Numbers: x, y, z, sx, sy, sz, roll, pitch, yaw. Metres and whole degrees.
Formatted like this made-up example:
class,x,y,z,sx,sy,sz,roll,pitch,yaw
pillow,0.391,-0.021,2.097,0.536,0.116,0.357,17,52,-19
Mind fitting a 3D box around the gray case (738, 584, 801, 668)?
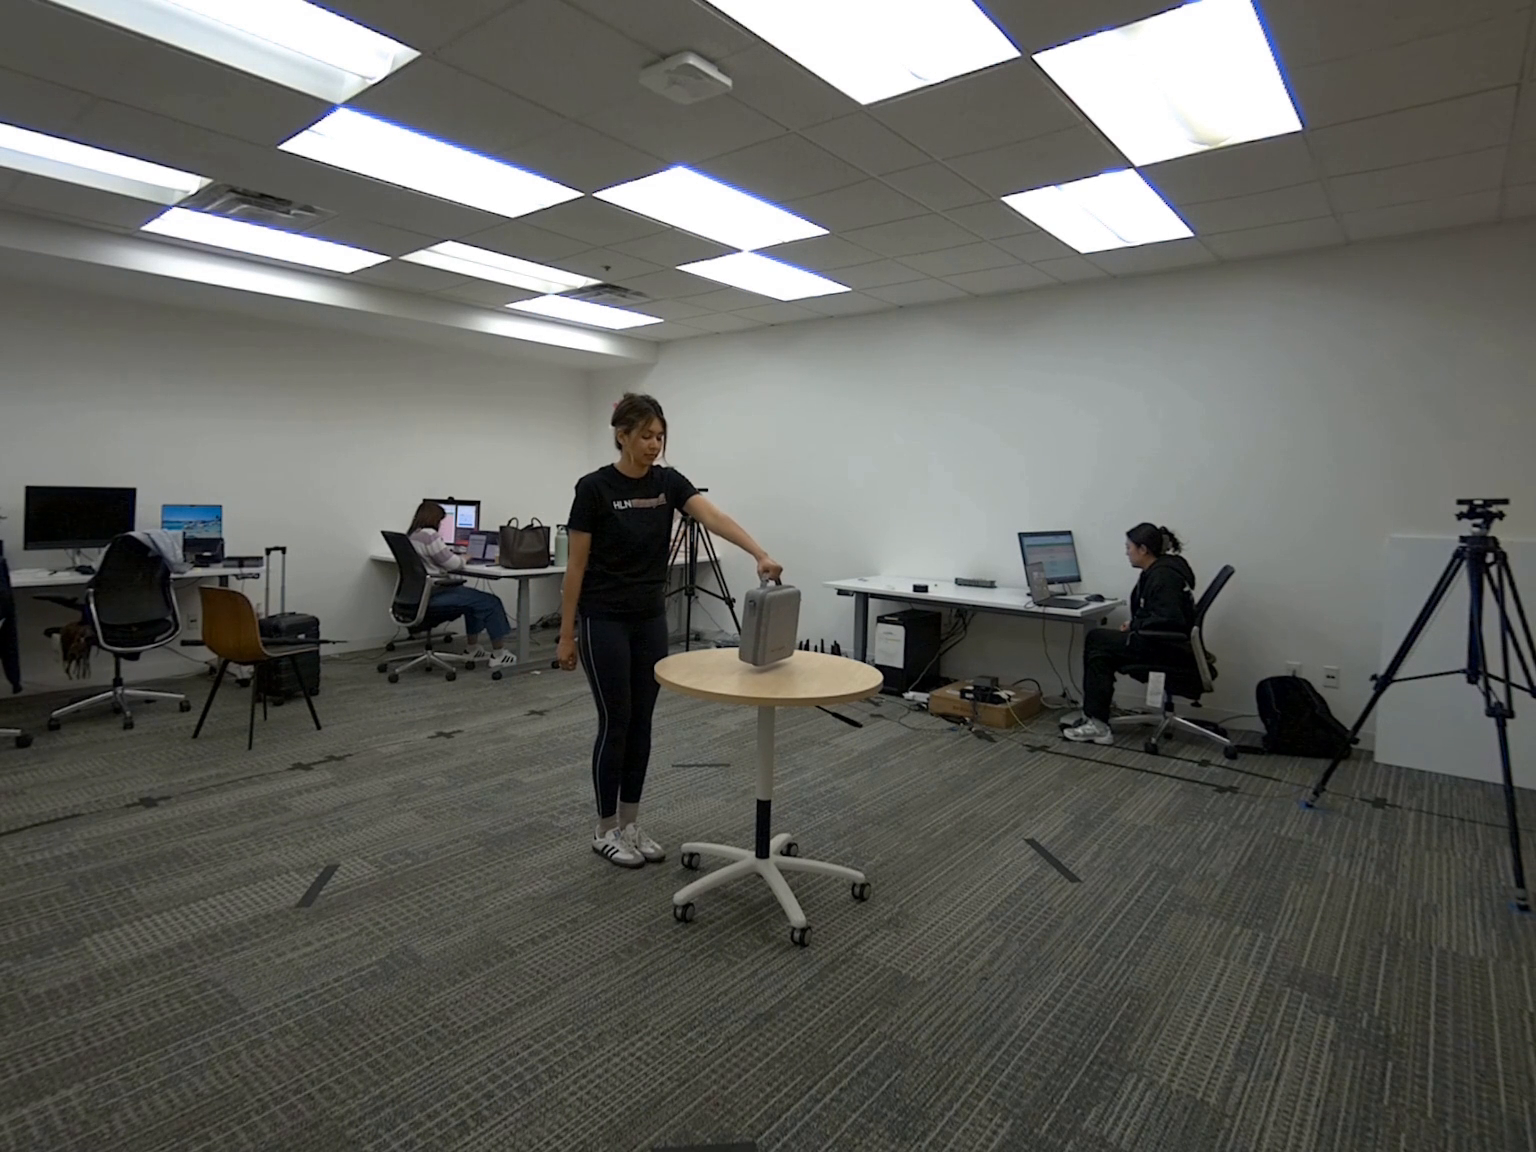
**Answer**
class,x,y,z,sx,sy,sz,roll,pitch,yaw
gray case,-0.003,0.158,2.896,0.107,0.260,0.250,6,5,27
